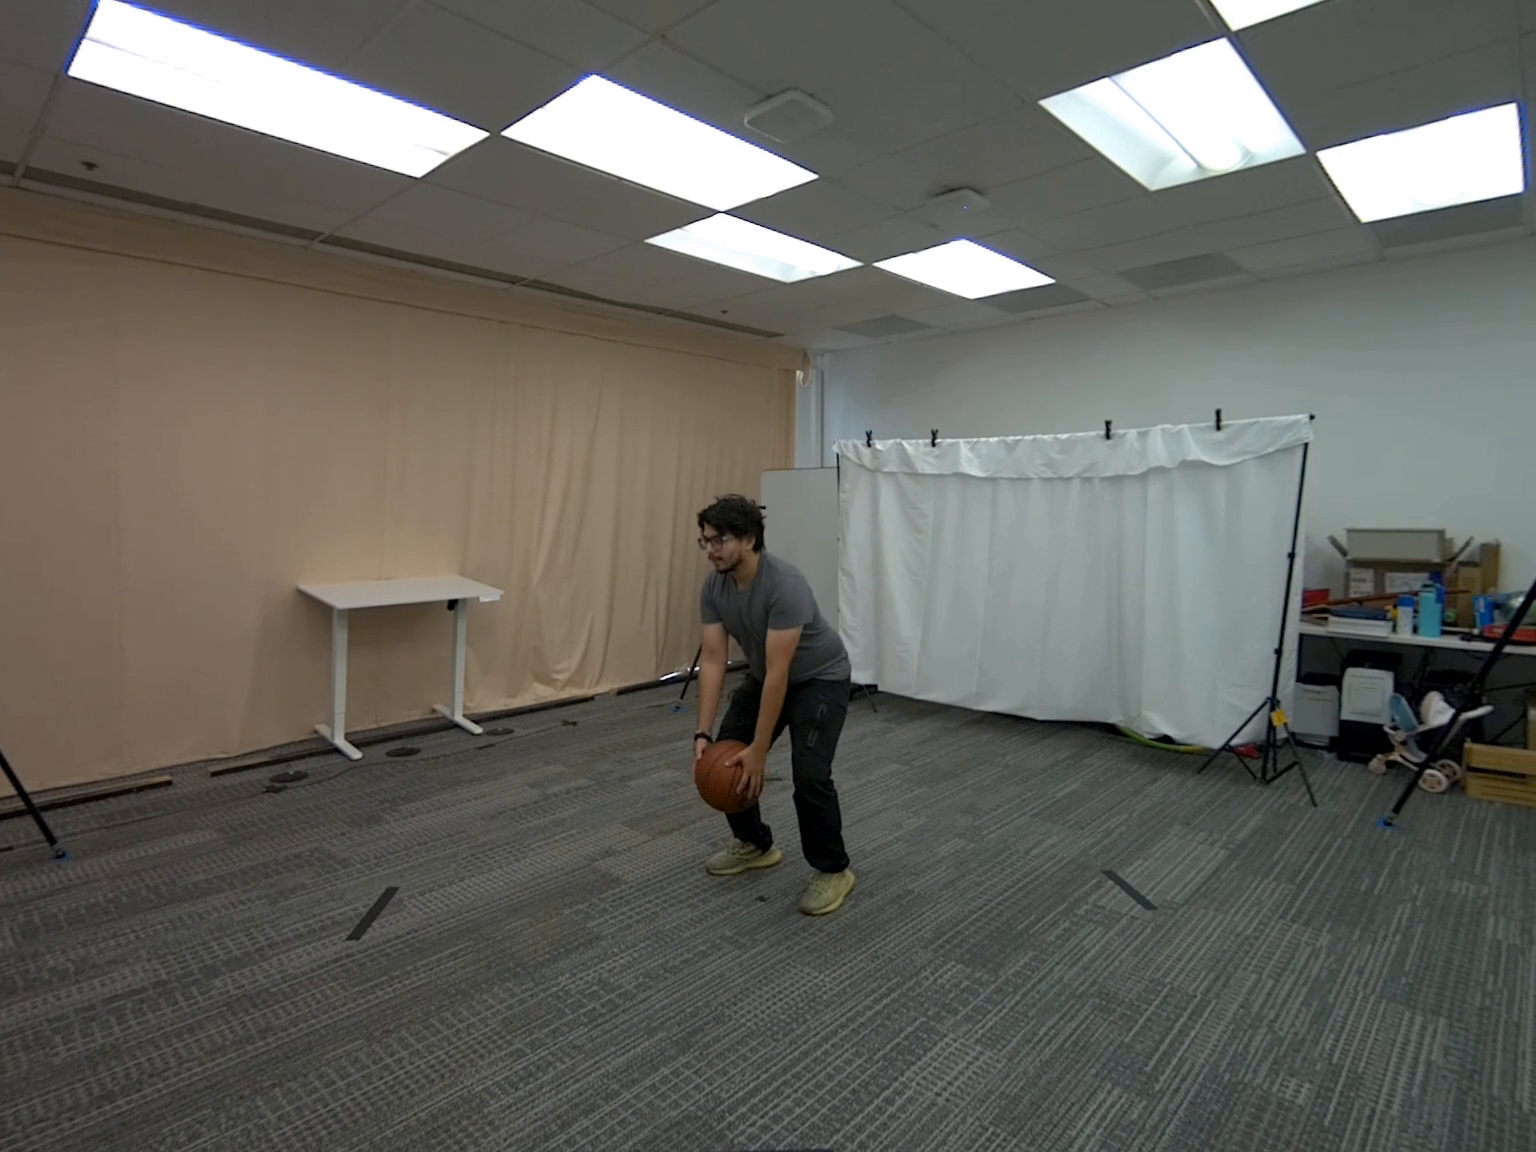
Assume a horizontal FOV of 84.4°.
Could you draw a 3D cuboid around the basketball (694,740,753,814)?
[{"bbox_3d":[-0.131,0.682,2.882,0.236,0.235,0.237,0,4,-2],"label":"basketball"}]
